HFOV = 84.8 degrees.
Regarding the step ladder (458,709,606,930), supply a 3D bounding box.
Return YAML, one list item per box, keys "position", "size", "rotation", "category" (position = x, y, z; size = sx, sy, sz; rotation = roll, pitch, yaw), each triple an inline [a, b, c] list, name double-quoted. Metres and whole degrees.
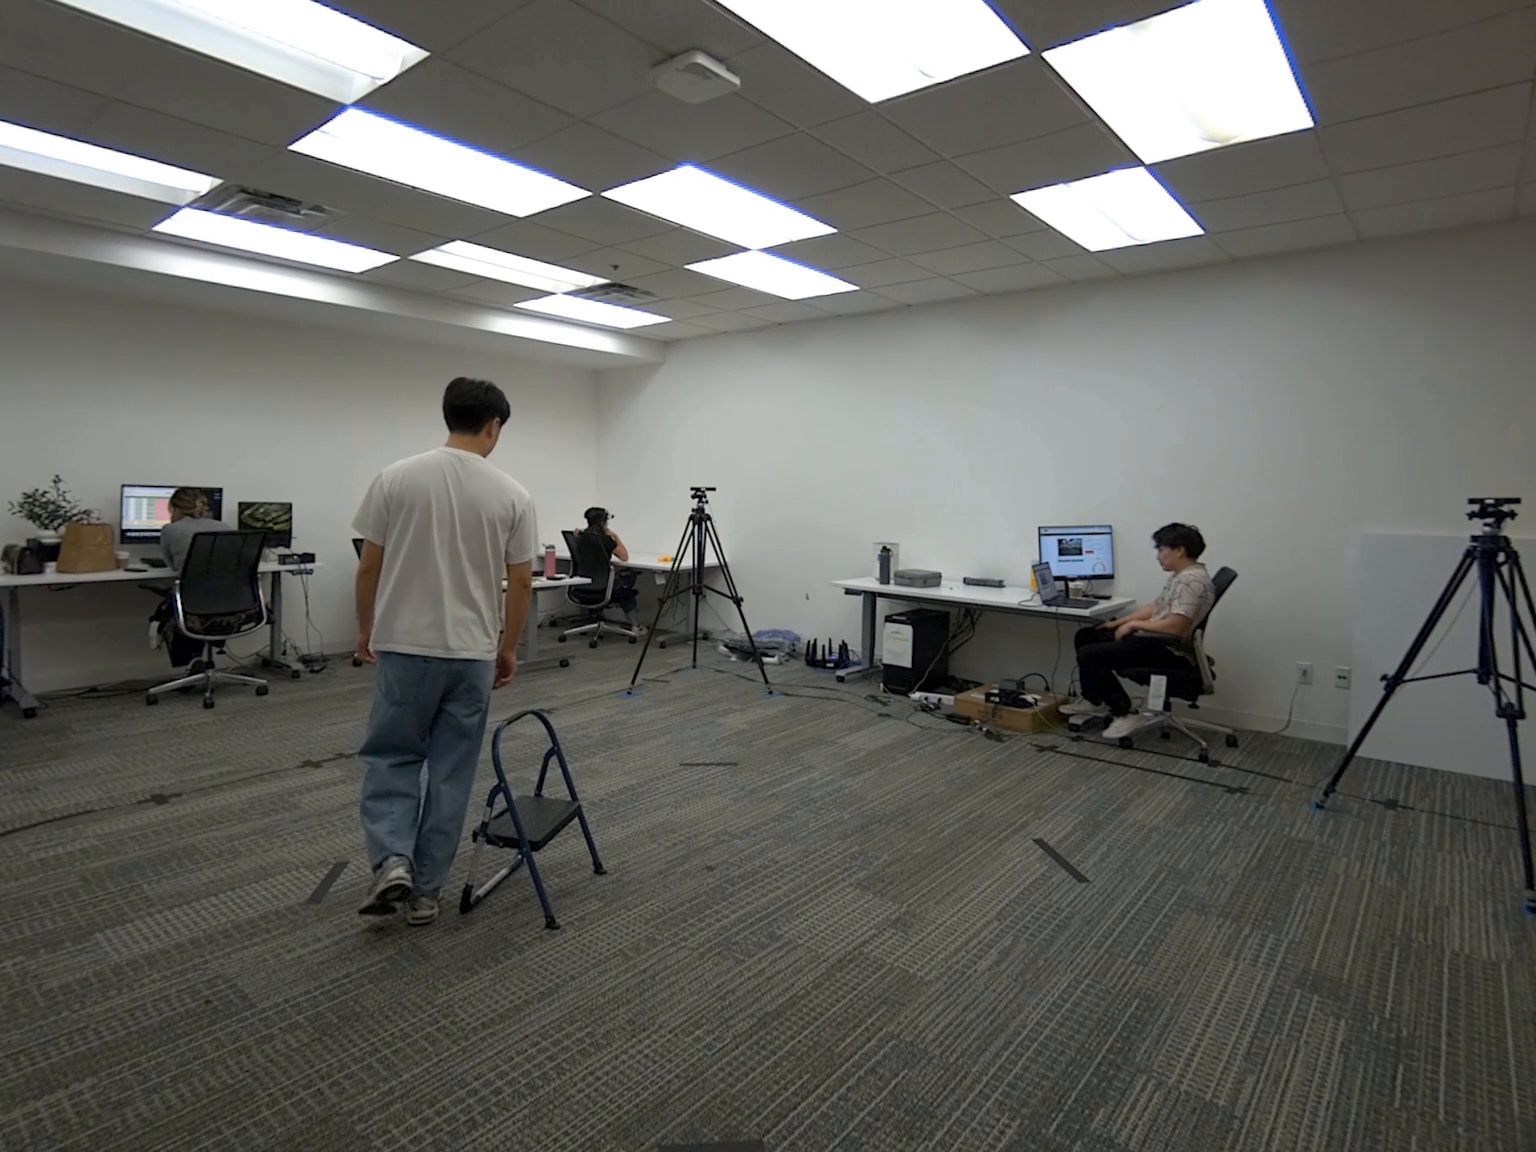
- position: [-0.798, 0.778, 2.885]
  size: [0.354, 0.604, 0.426]
  rotation: [2, 4, 12]
  category: "step ladder"
